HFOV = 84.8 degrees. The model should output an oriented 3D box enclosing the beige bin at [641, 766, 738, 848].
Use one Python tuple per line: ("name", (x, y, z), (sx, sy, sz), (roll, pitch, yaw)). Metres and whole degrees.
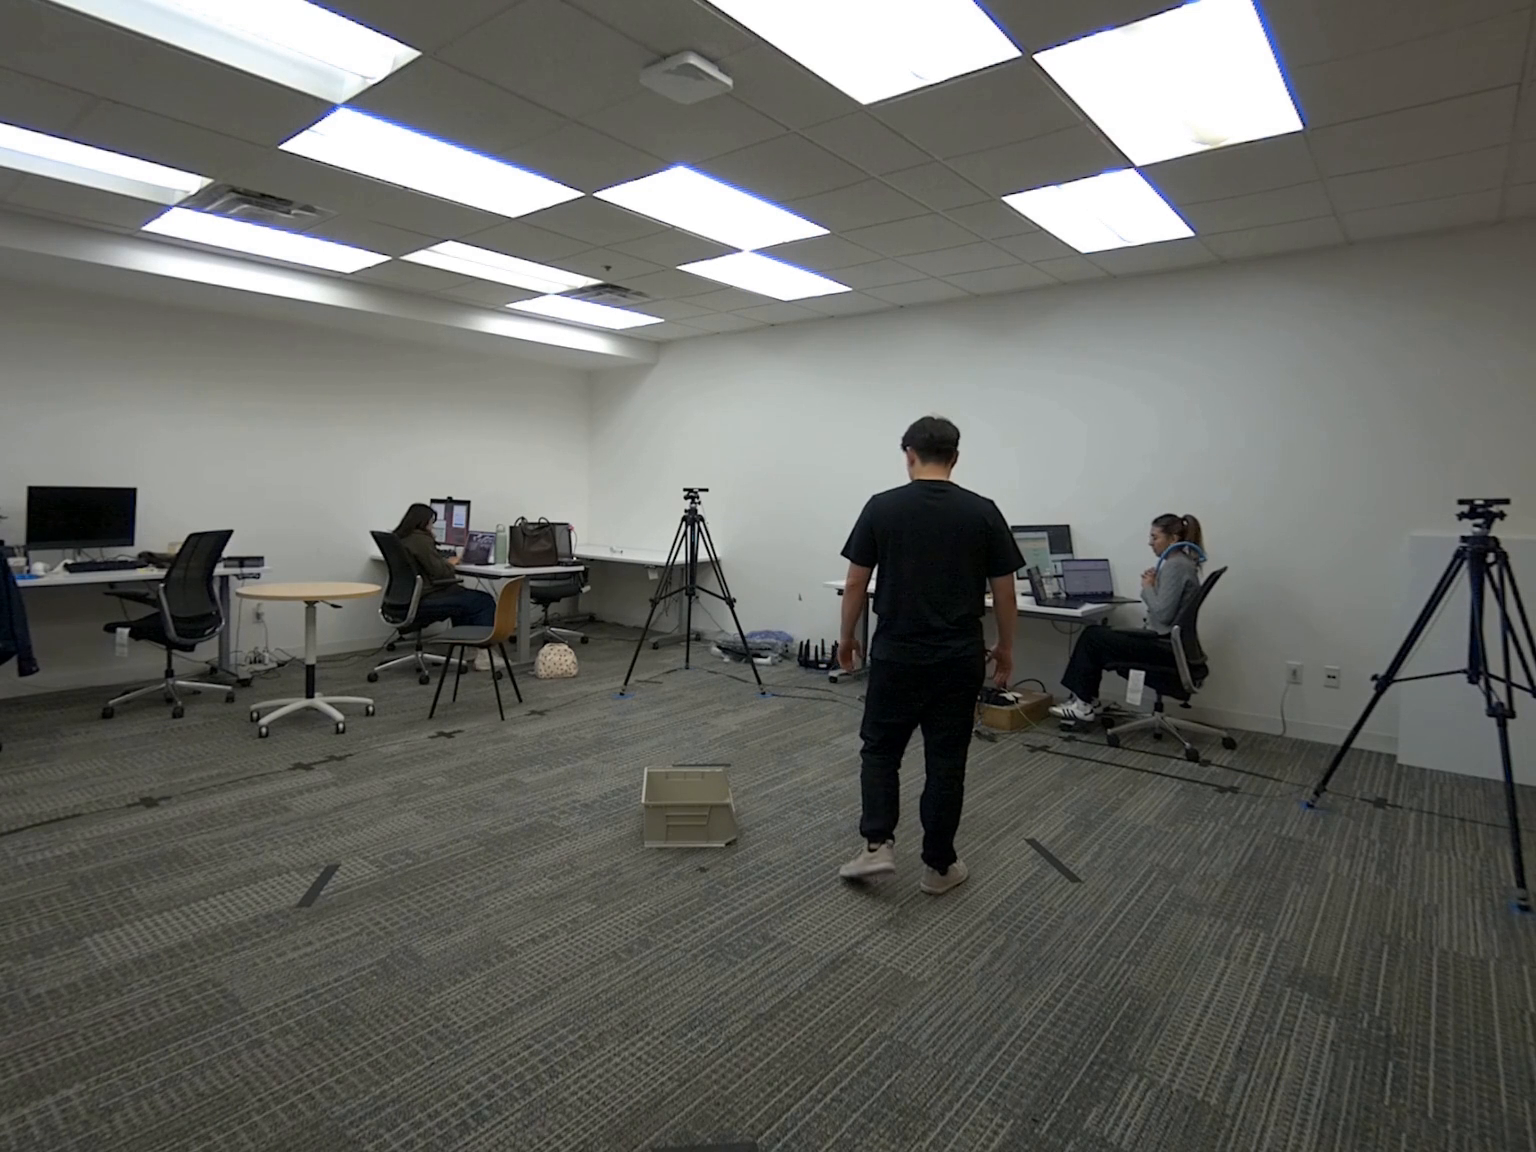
("beige bin", (-0.338, 0.941, 3.500), (0.375, 0.188, 0.427), (0, 6, -5))
